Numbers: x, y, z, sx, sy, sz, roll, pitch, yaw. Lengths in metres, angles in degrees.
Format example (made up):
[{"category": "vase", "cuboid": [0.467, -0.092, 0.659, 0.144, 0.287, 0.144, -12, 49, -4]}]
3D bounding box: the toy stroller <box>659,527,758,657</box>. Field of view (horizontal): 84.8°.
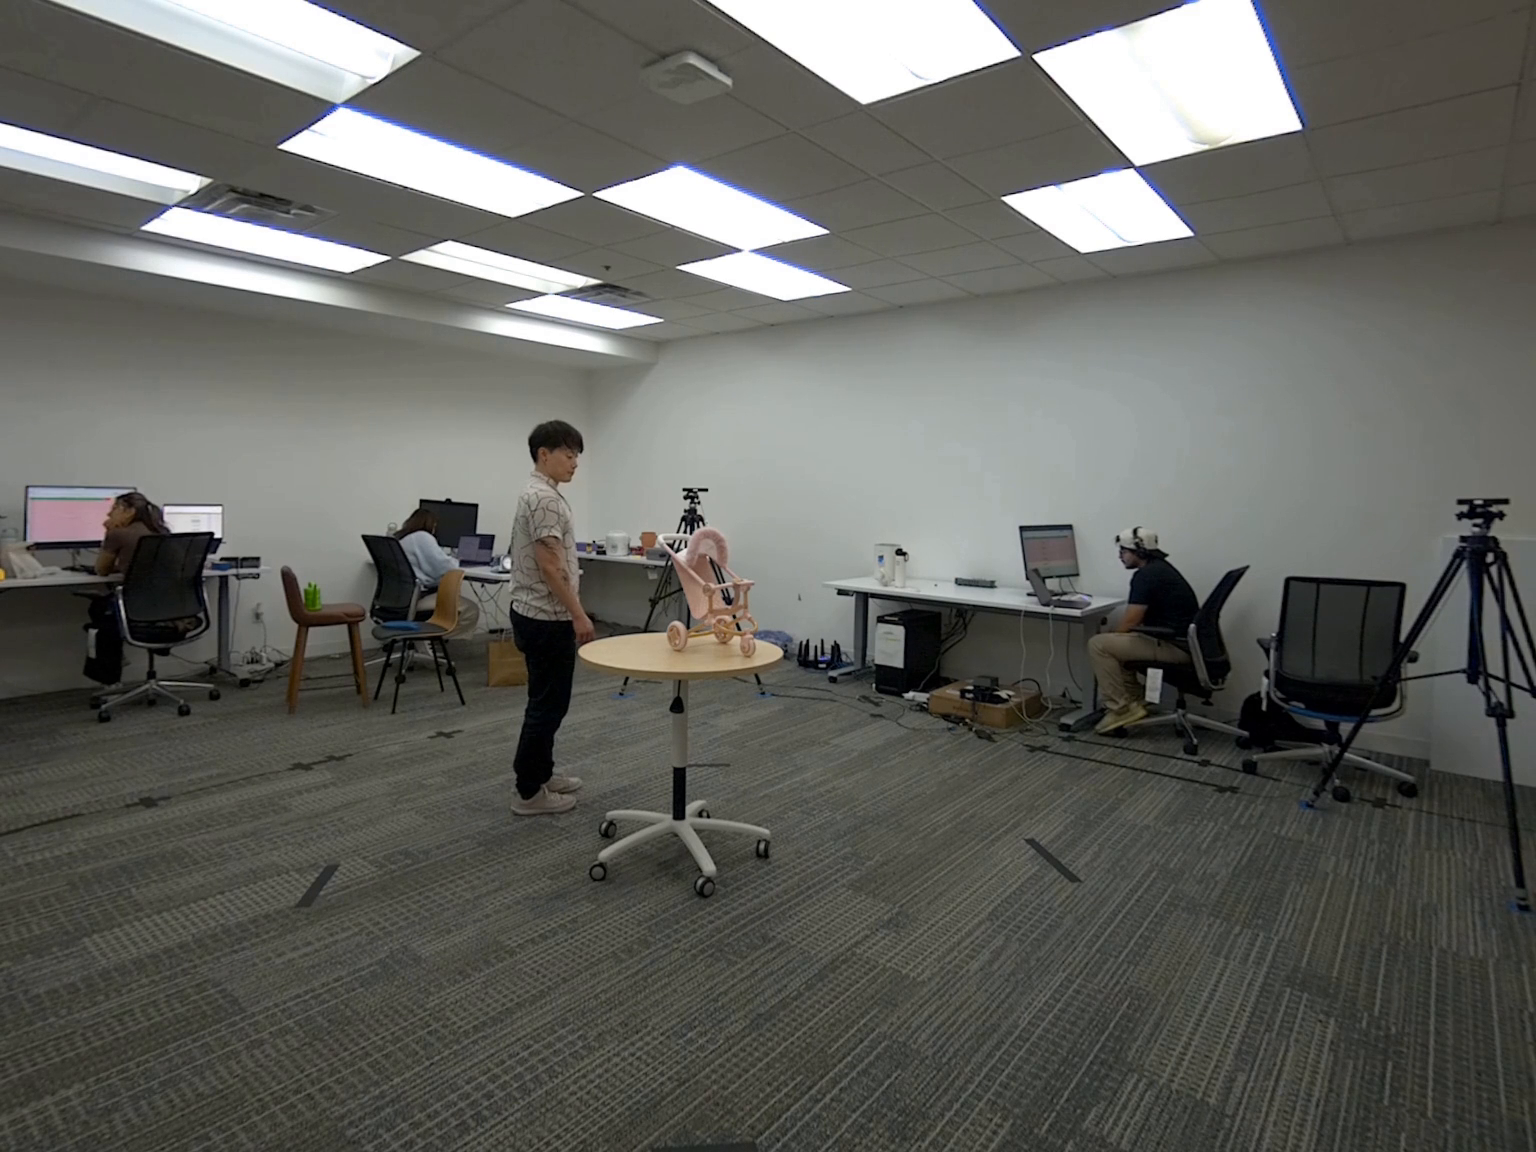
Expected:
[{"category": "toy stroller", "cuboid": [-0.221, 0.052, 3.210, 0.273, 0.541, 0.348, -2, -12, -43]}]
